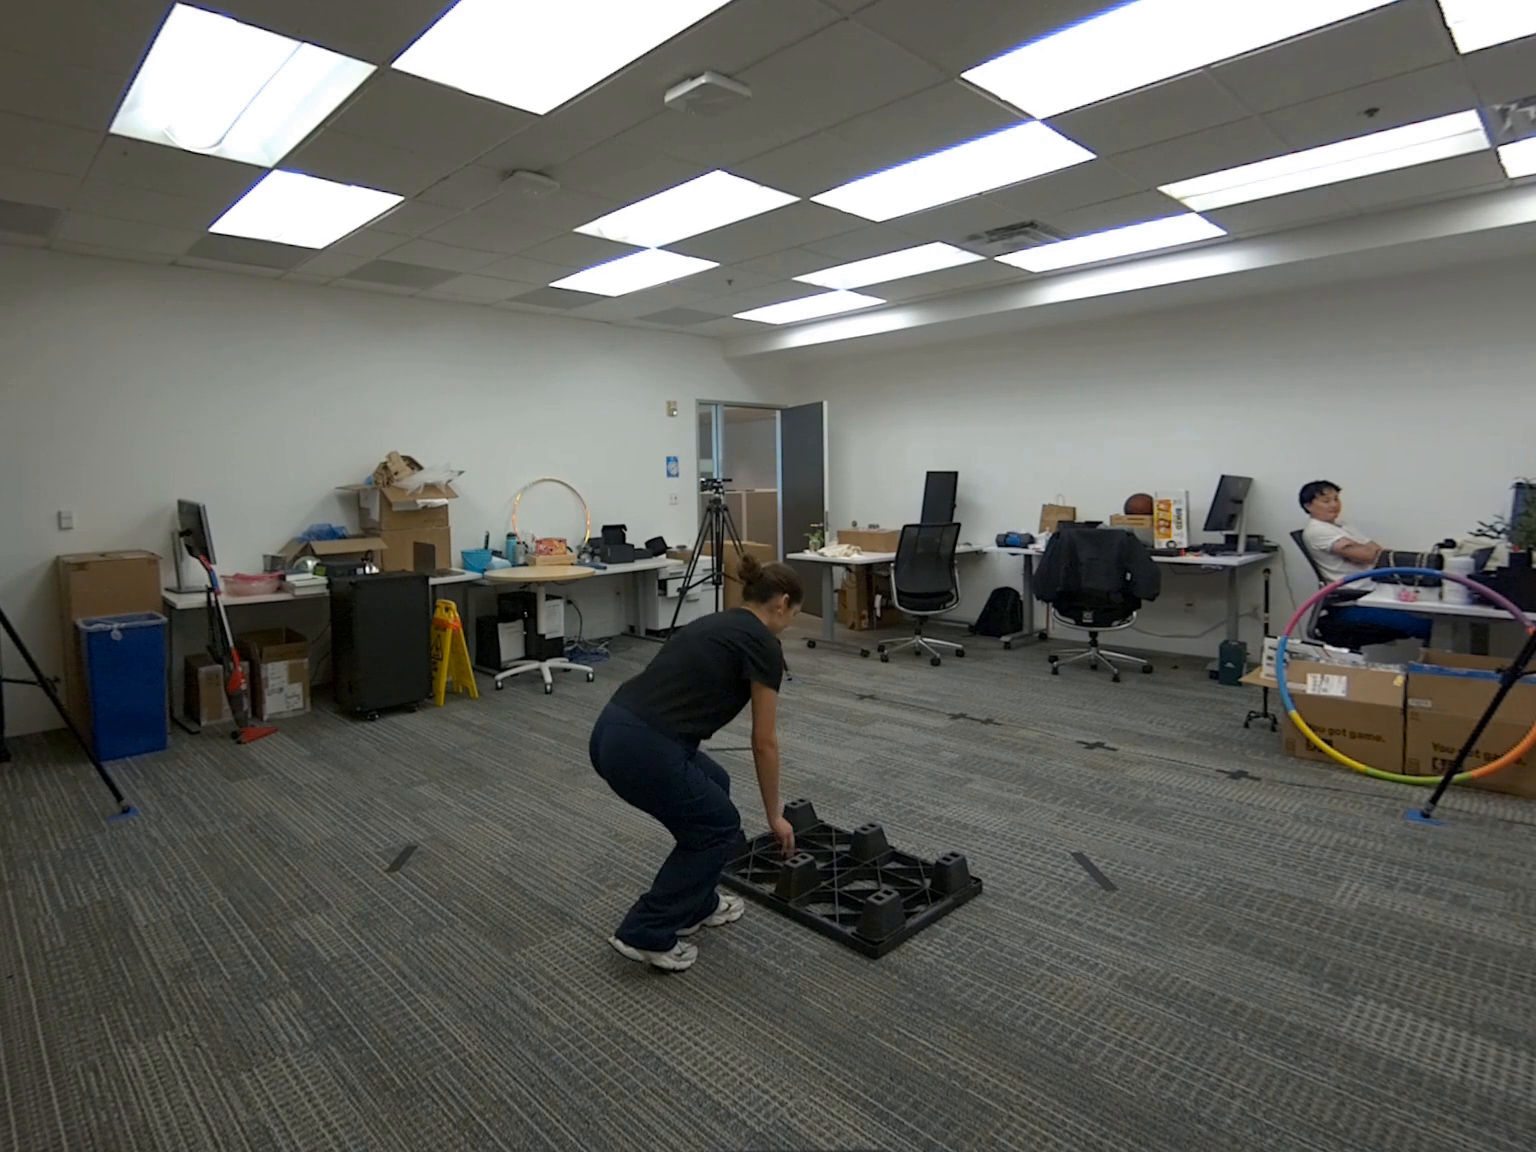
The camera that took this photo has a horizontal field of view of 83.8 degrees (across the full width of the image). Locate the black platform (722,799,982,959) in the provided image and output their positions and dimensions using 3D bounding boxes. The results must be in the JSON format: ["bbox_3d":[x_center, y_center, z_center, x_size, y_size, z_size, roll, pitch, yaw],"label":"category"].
[{"bbox_3d":[0.239,0.991,2.971,0.590,0.142,0.831,-8,10,-44],"label":"black platform"}]
